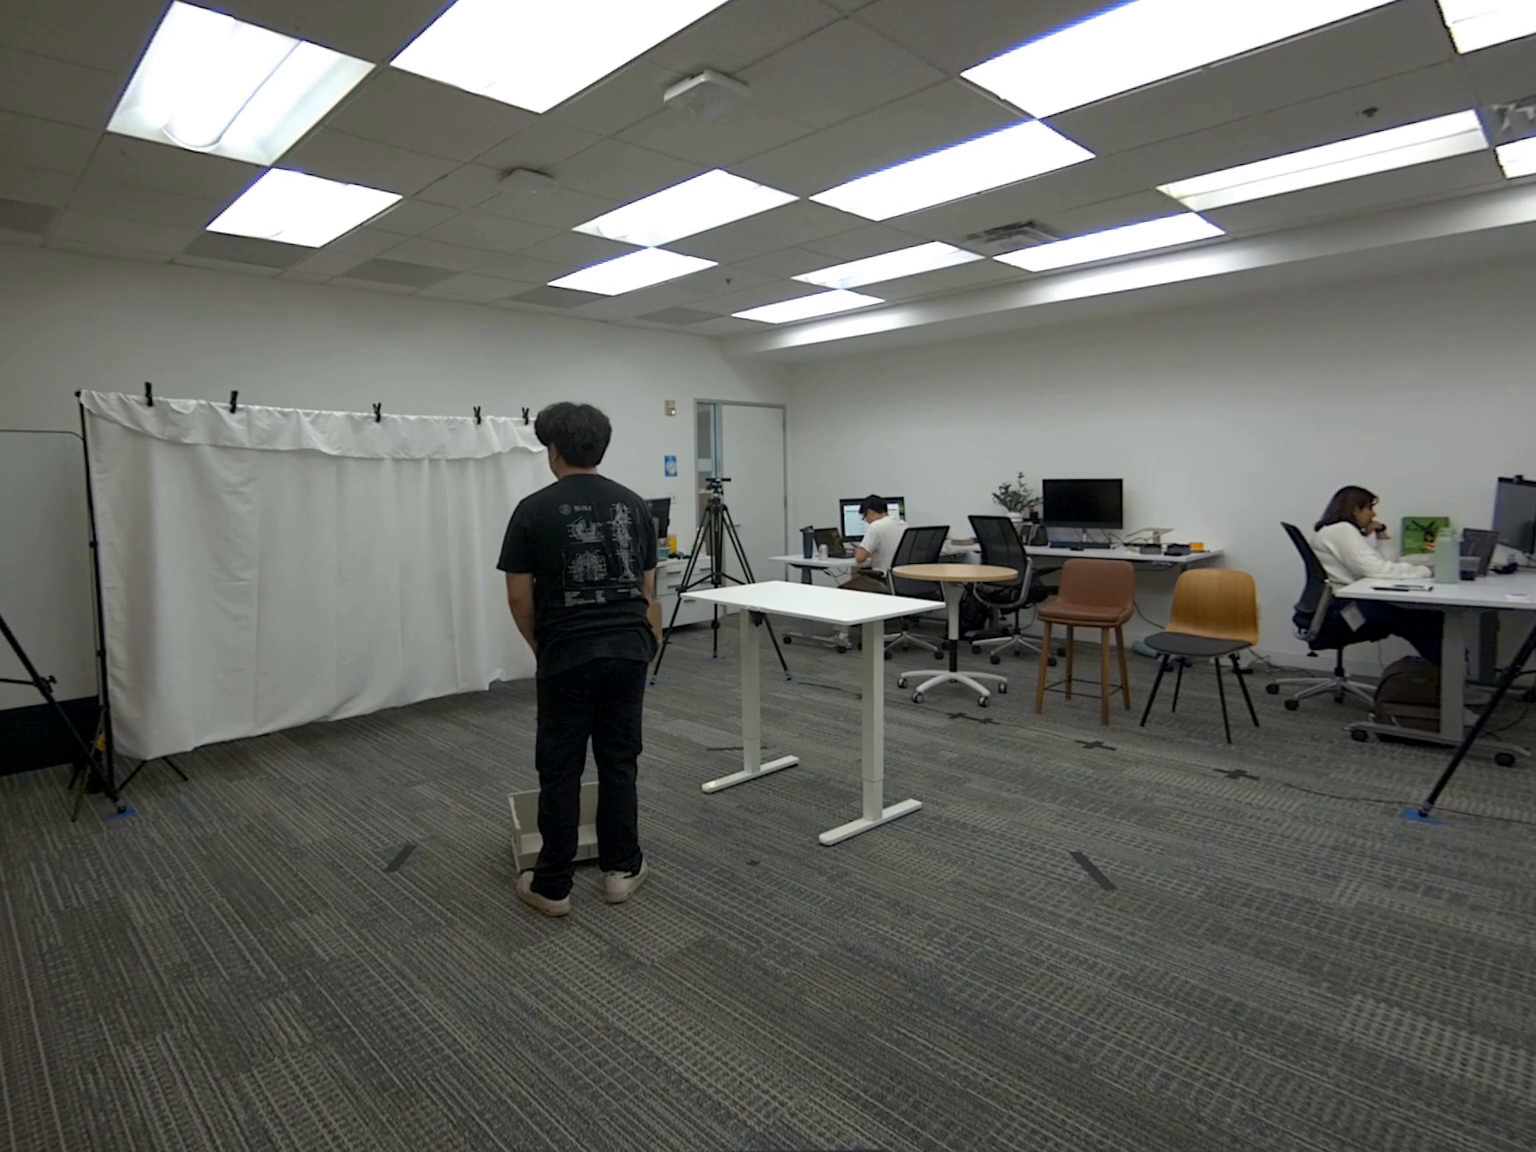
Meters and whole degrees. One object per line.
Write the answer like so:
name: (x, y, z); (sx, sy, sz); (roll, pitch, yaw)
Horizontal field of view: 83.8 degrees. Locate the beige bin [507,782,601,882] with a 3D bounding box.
beige bin: (-0.751, 0.954, 3.242); (0.415, 0.188, 0.385); (-4, 6, -20)
